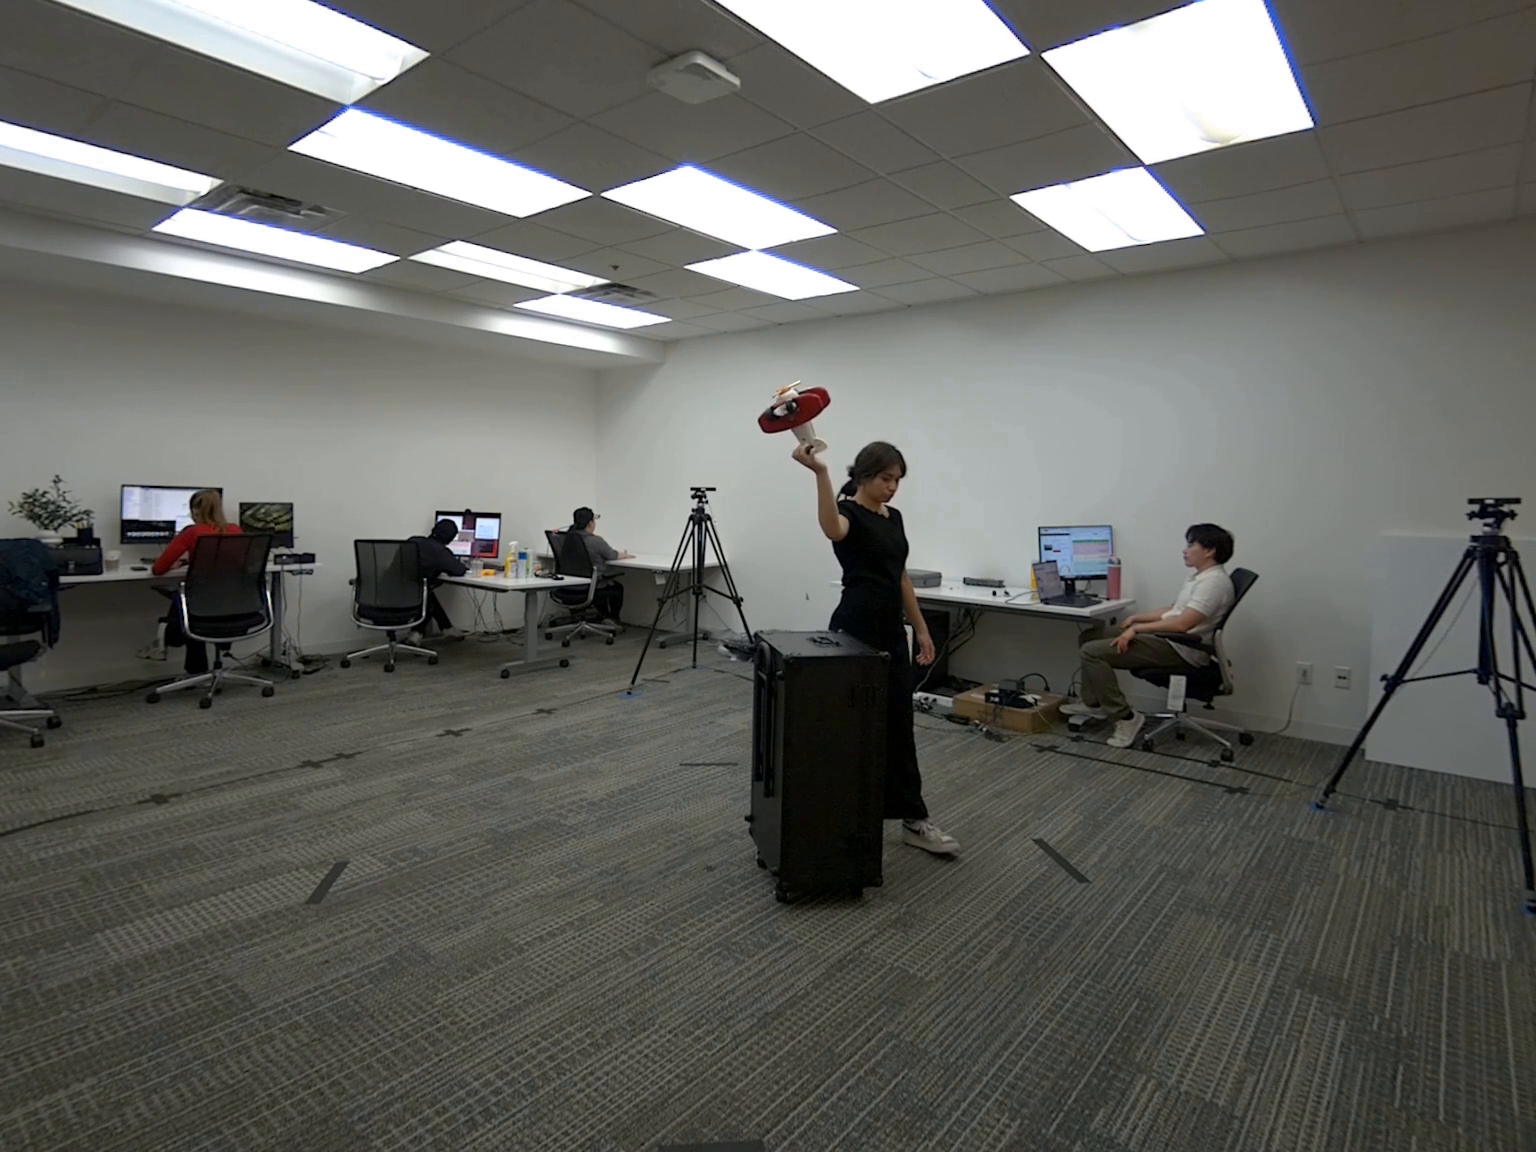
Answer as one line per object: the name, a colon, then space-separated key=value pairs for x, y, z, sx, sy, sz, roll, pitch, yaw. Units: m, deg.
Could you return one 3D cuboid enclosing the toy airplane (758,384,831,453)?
toy airplane: x=0.087 y=-0.545 z=3.004 sx=0.256 sy=0.251 sz=0.158 roll=7 pitch=42 yaw=16
